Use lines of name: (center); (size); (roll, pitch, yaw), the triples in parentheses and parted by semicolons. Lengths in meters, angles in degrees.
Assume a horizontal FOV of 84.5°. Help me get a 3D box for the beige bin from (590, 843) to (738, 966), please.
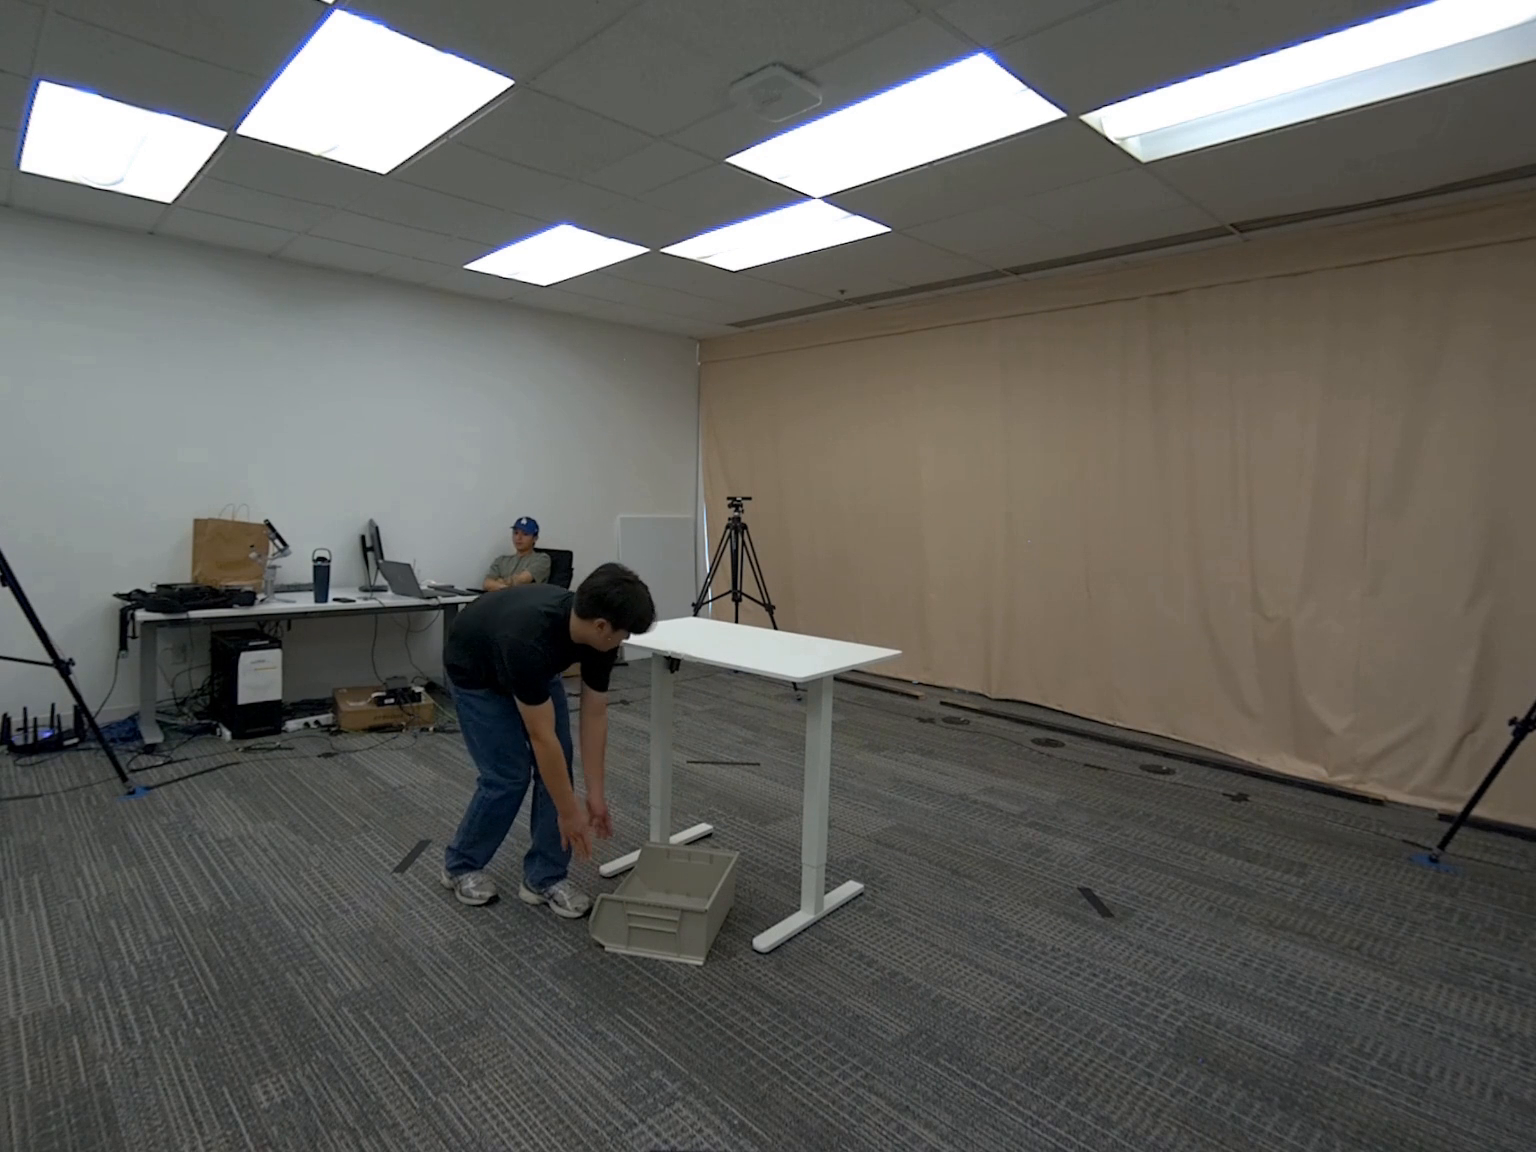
beige bin: (-0.327, 1.048, 2.731); (0.381, 0.188, 0.419); (2, 5, 12)
